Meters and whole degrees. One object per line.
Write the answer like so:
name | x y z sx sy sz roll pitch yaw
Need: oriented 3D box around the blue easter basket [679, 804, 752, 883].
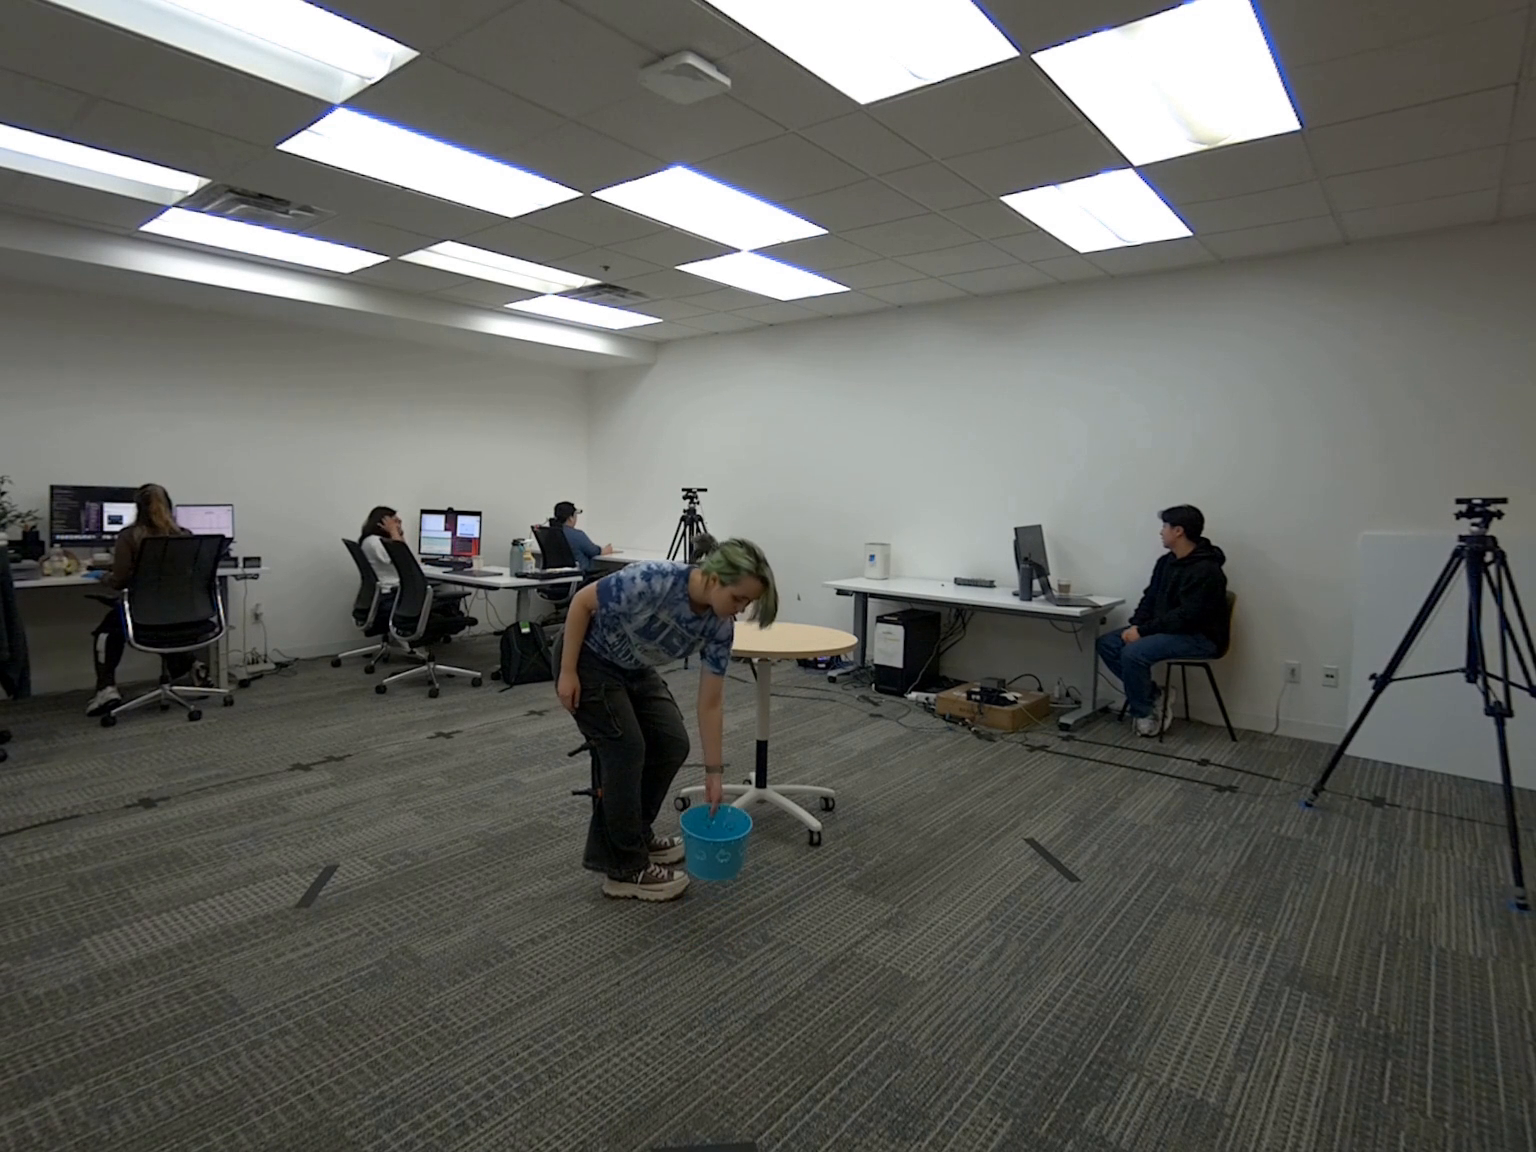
blue easter basket | -0.175 0.841 2.705 0.243 0.154 0.246 2 12 -2
